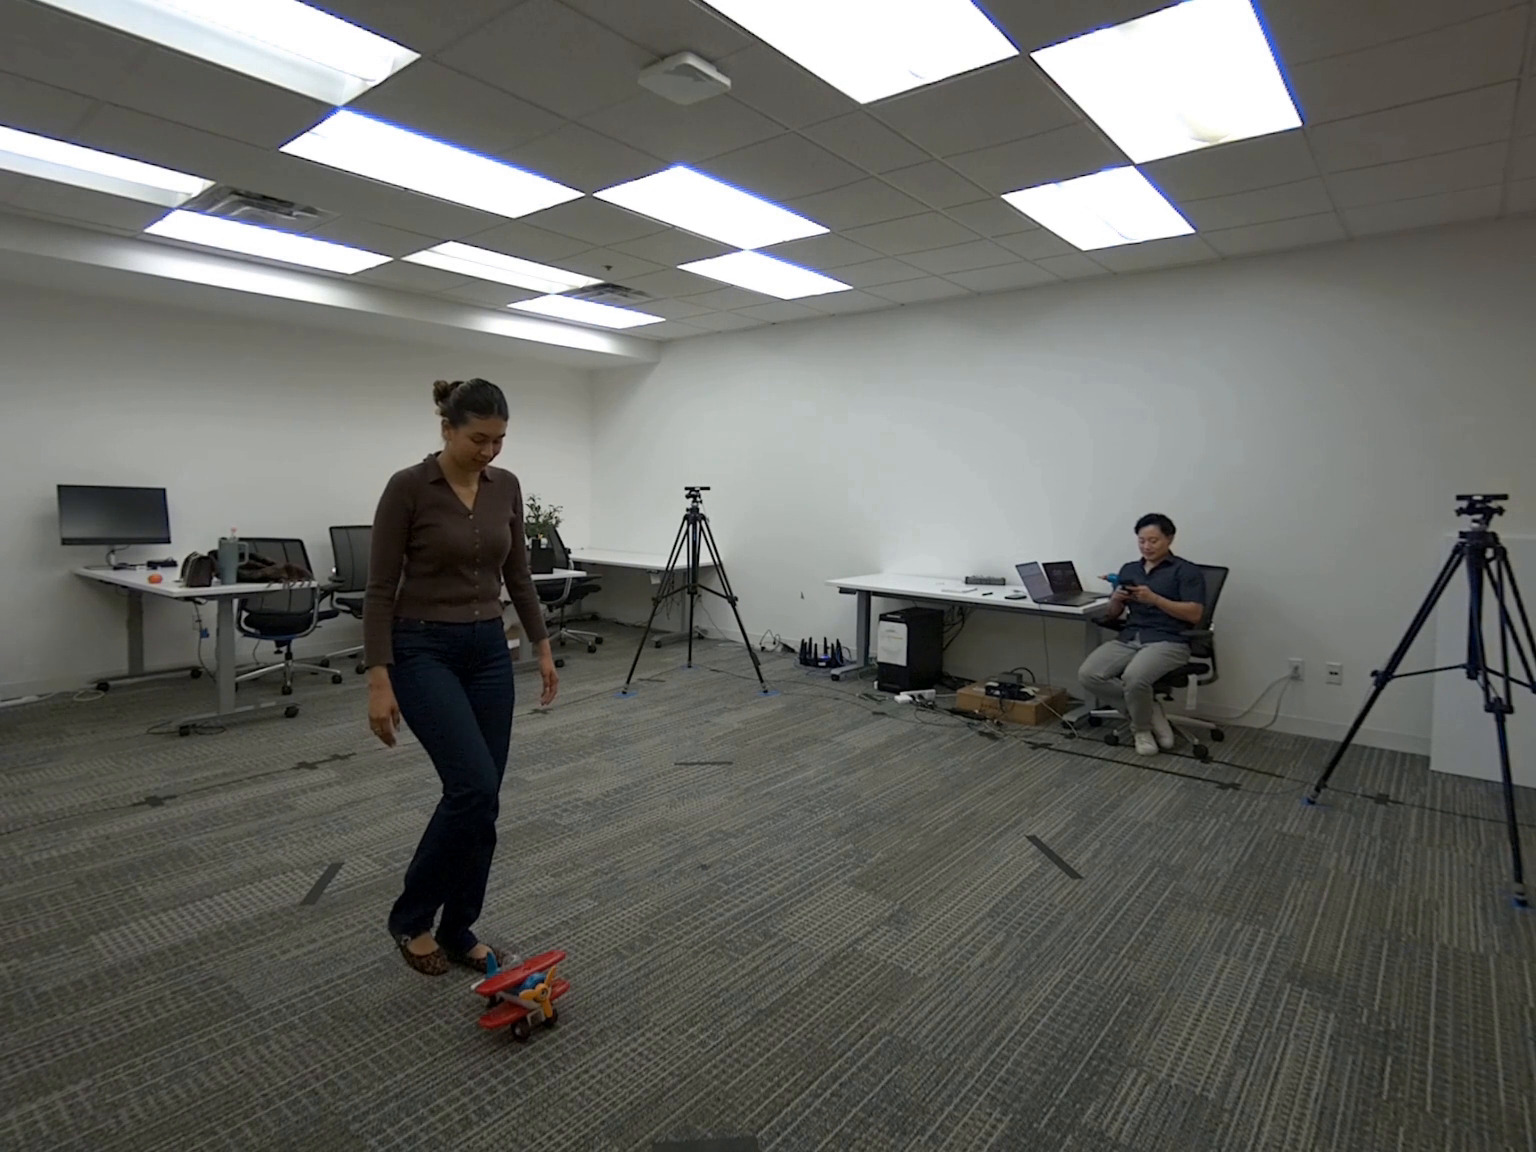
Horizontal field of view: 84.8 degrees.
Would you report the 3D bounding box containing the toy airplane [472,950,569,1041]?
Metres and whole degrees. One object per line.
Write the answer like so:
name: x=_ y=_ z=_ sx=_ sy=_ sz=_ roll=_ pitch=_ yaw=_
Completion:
toy airplane: x=-0.678 y=1.080 z=2.195 sx=0.263 sy=0.156 sz=0.248 roll=3 pitch=6 yaw=13
